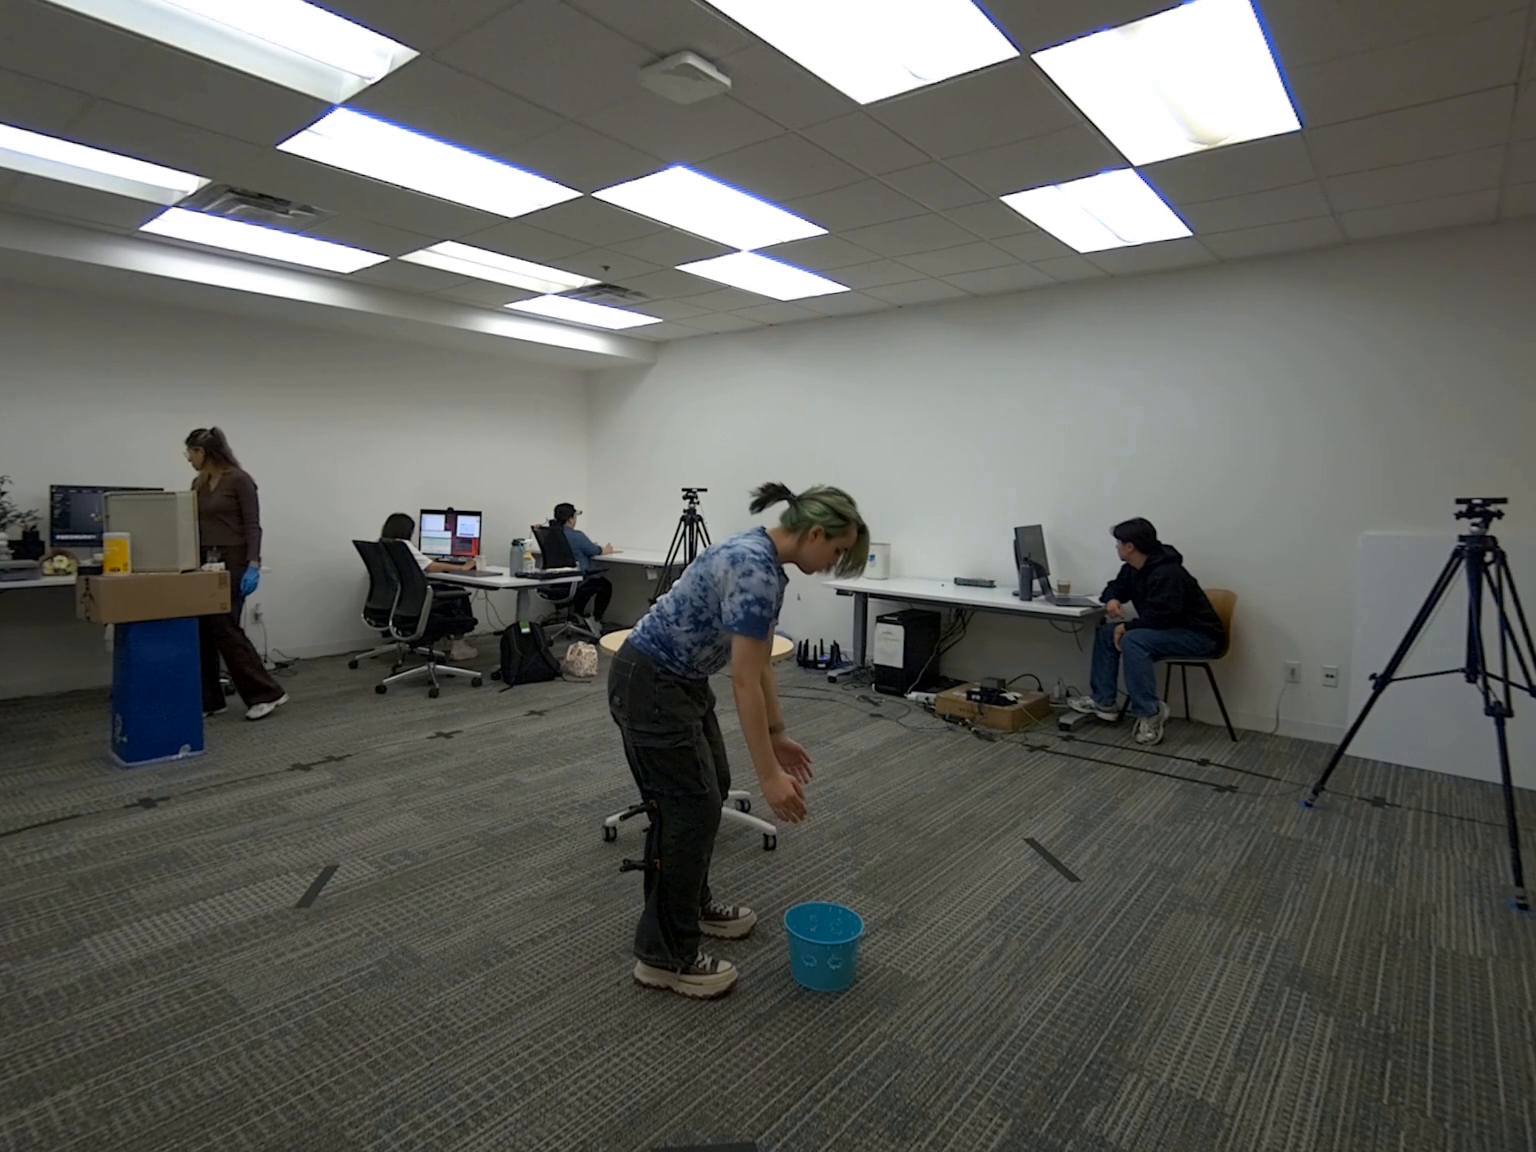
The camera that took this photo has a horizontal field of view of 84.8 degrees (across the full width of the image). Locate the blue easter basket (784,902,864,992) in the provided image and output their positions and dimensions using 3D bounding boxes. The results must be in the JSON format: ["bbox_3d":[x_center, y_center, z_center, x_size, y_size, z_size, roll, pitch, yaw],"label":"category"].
[{"bbox_3d":[0.163,1.066,2.451,0.243,0.155,0.245,1,5,-2],"label":"blue easter basket"}]
